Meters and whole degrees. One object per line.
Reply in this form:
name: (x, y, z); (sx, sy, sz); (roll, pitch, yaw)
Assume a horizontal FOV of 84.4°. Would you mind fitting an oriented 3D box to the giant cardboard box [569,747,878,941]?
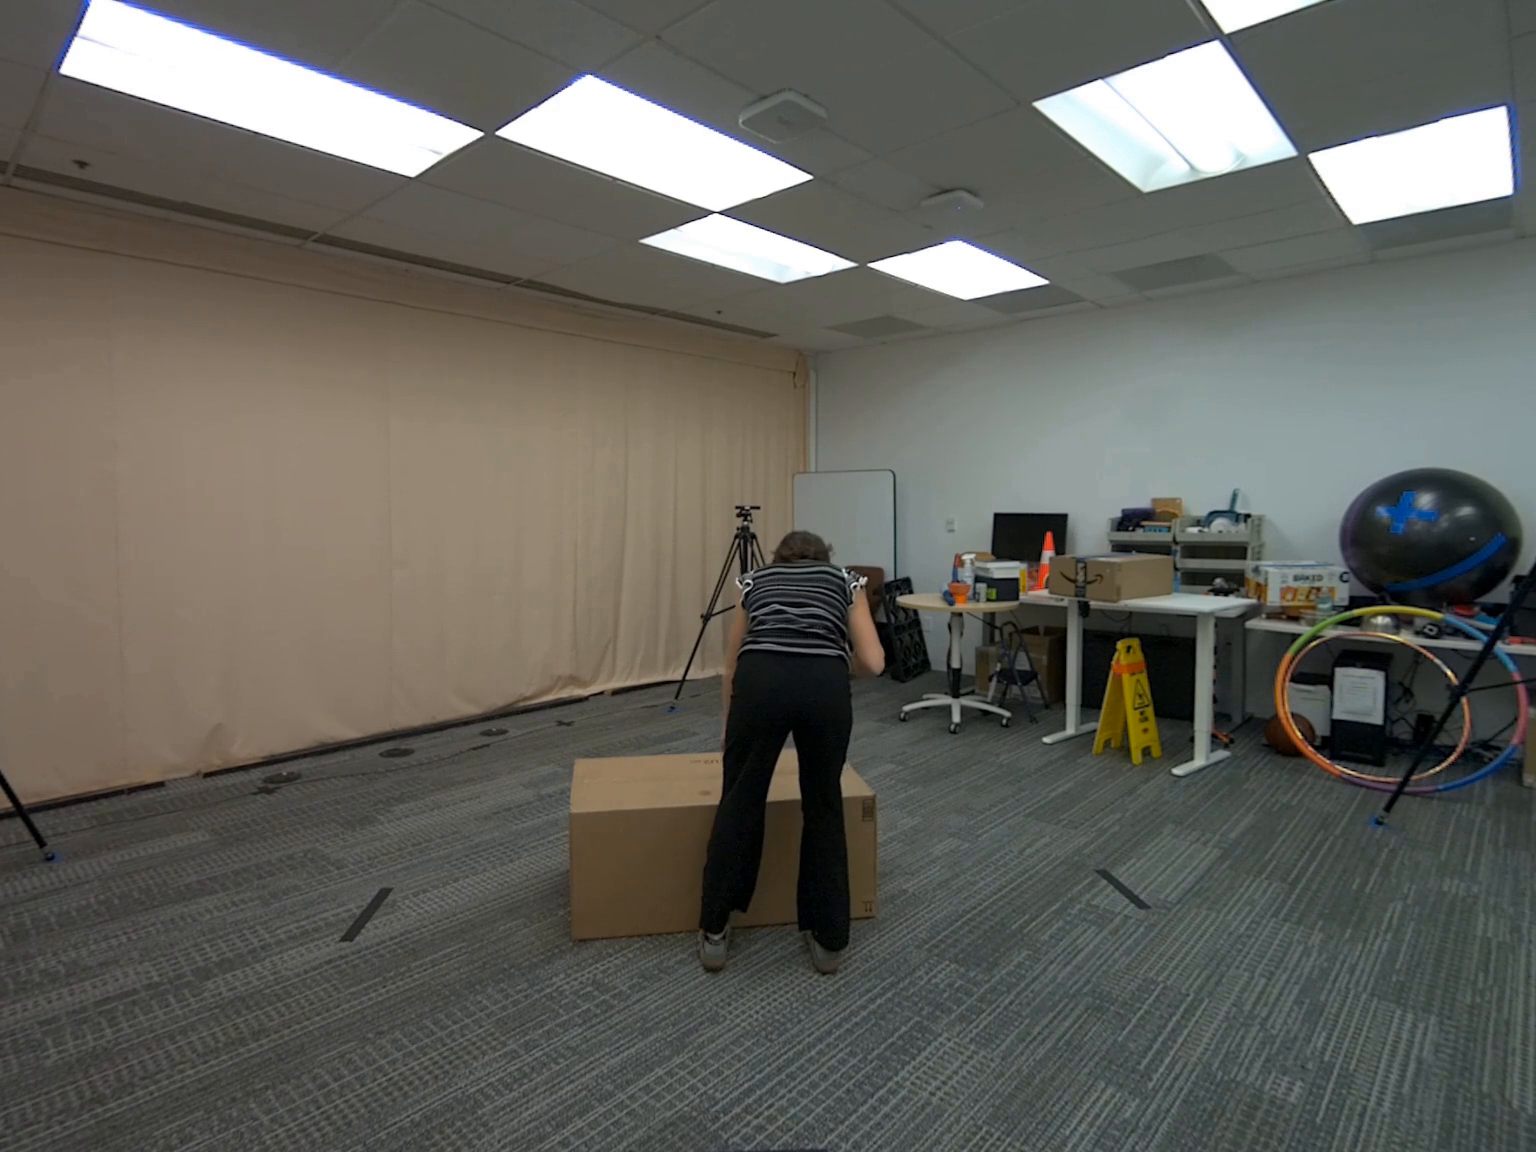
giant cardboard box: (-0.187, 0.927, 3.041); (1.017, 0.425, 0.584); (-1, 5, -9)
